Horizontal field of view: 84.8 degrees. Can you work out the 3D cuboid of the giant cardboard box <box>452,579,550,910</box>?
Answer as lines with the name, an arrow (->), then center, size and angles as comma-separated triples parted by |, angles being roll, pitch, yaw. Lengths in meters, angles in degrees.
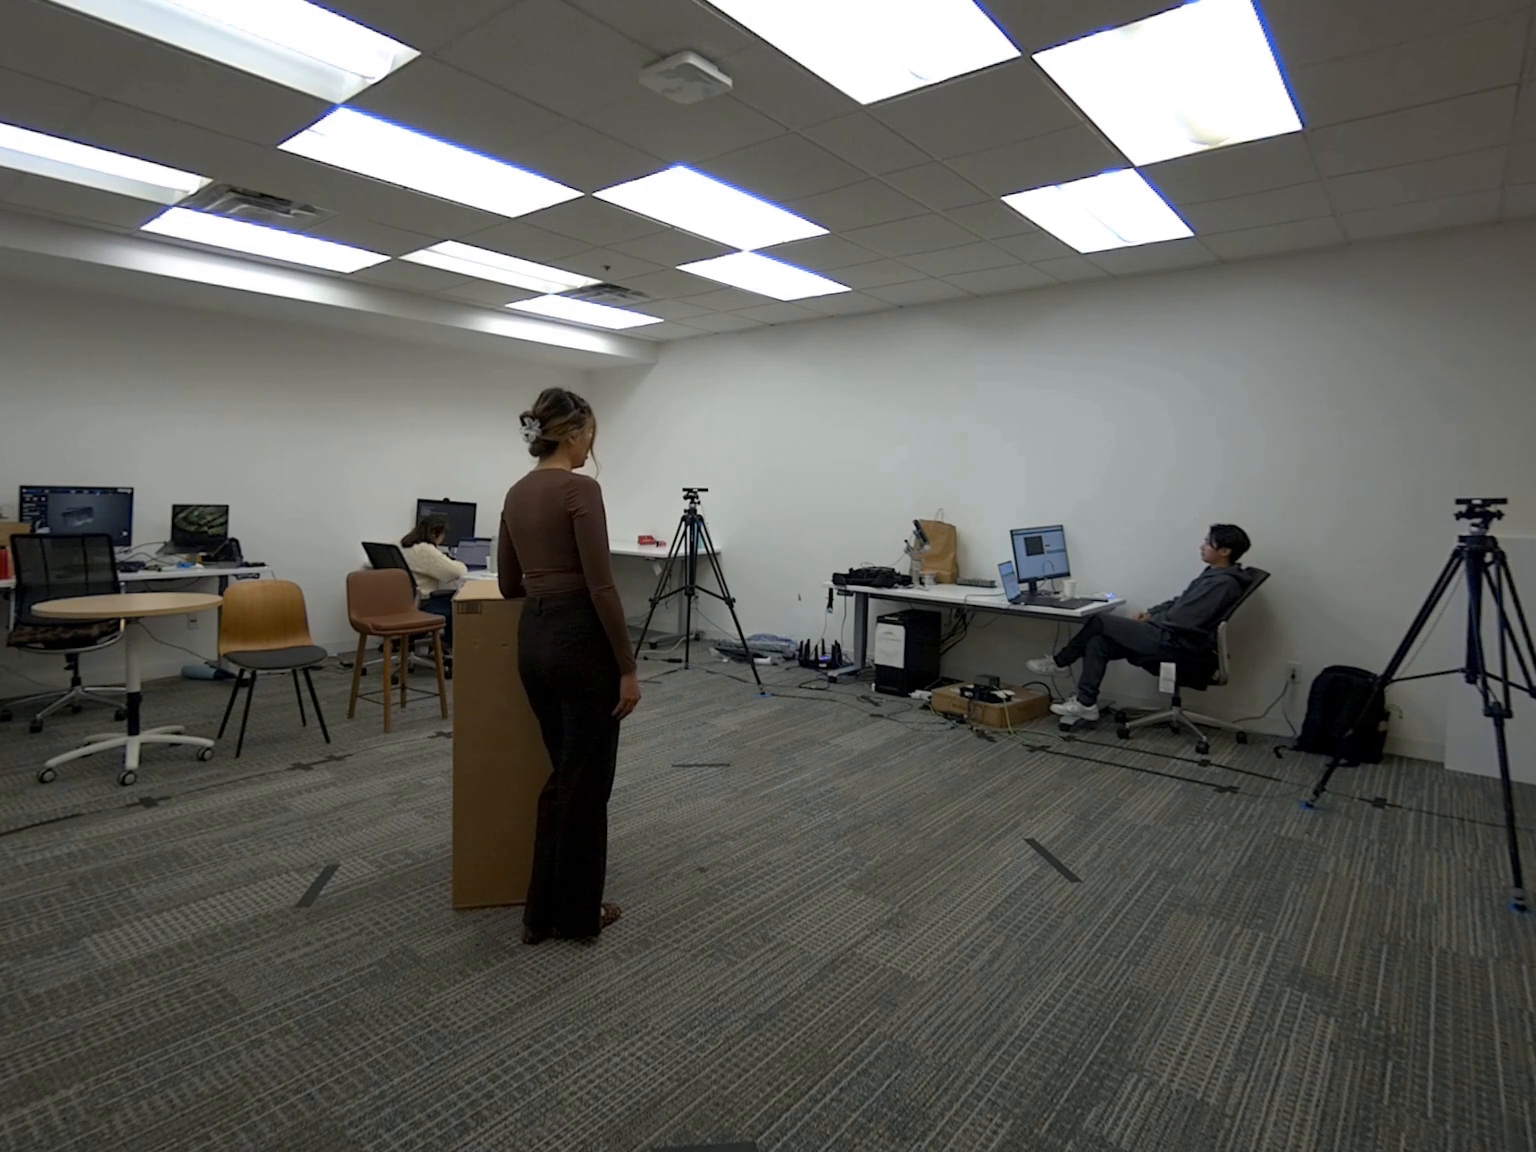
giant cardboard box -> -0.910, 0.551, 3.079 | 0.440, 1.024, 0.595 | 0, 3, -15
